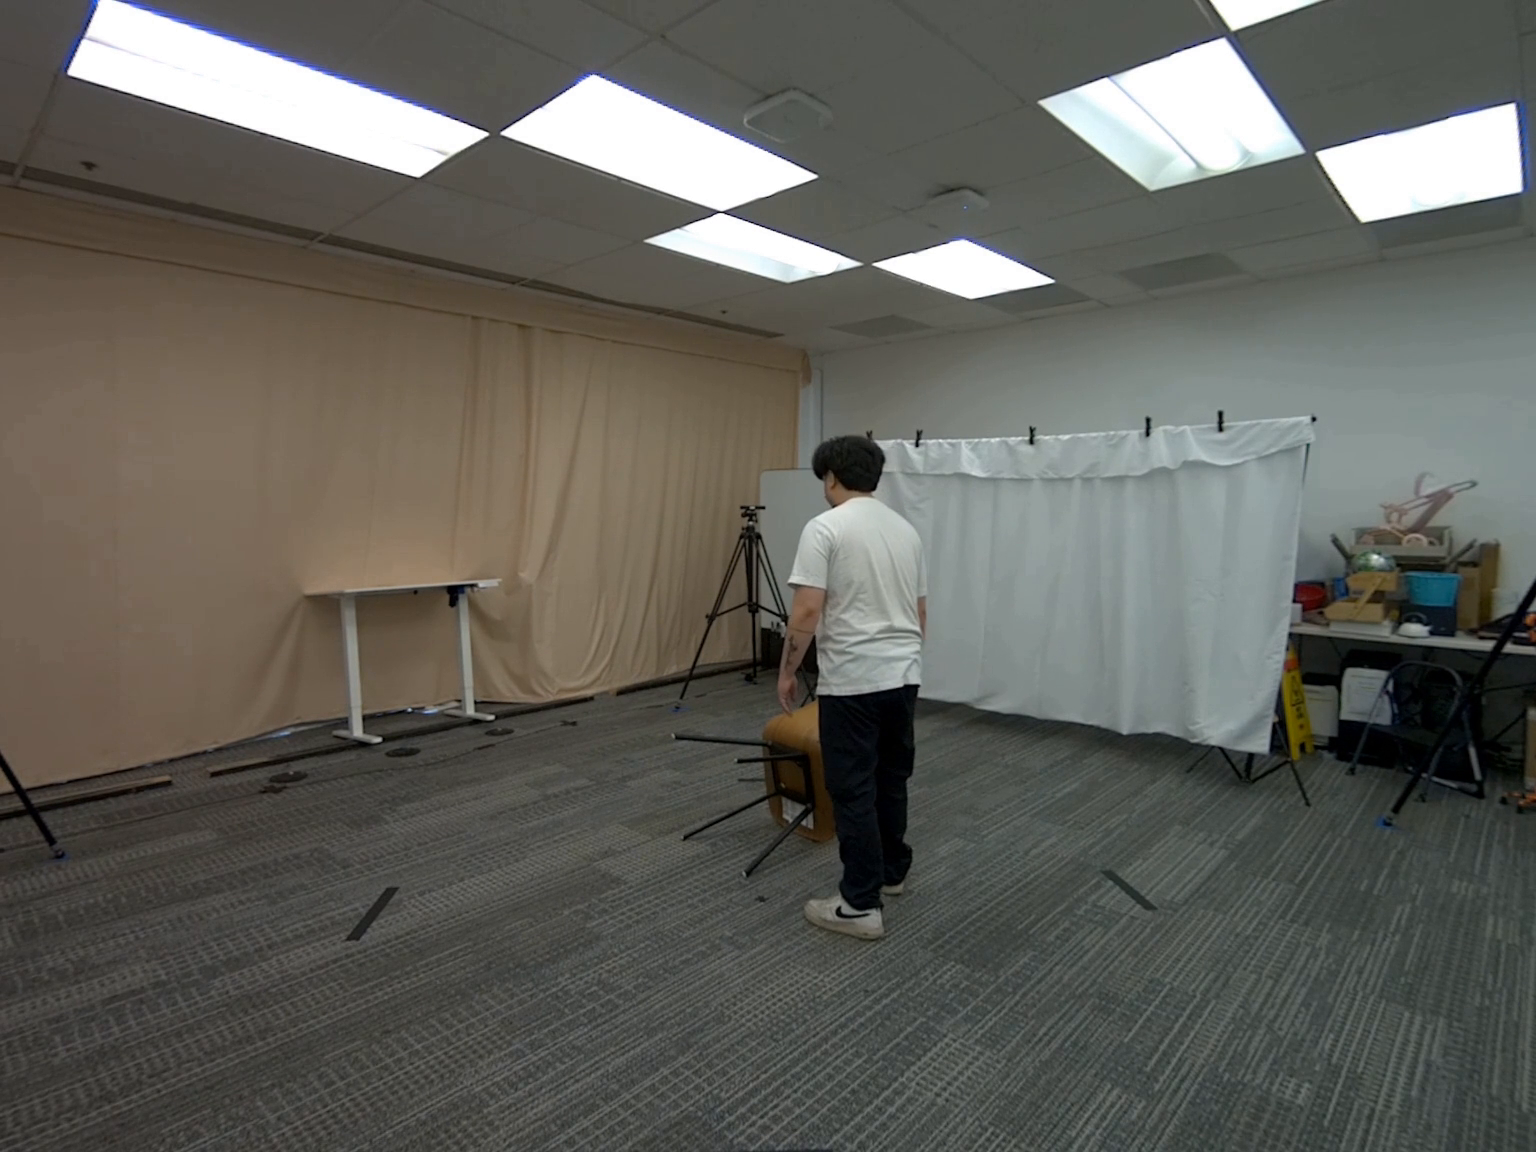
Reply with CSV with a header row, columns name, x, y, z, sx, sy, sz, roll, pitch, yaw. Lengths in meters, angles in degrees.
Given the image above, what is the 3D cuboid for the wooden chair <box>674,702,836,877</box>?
name,x,y,z,sx,sy,sz,roll,pitch,yaw
wooden chair,0.093,0.843,3.555,0.855,0.520,0.493,-14,11,-36
